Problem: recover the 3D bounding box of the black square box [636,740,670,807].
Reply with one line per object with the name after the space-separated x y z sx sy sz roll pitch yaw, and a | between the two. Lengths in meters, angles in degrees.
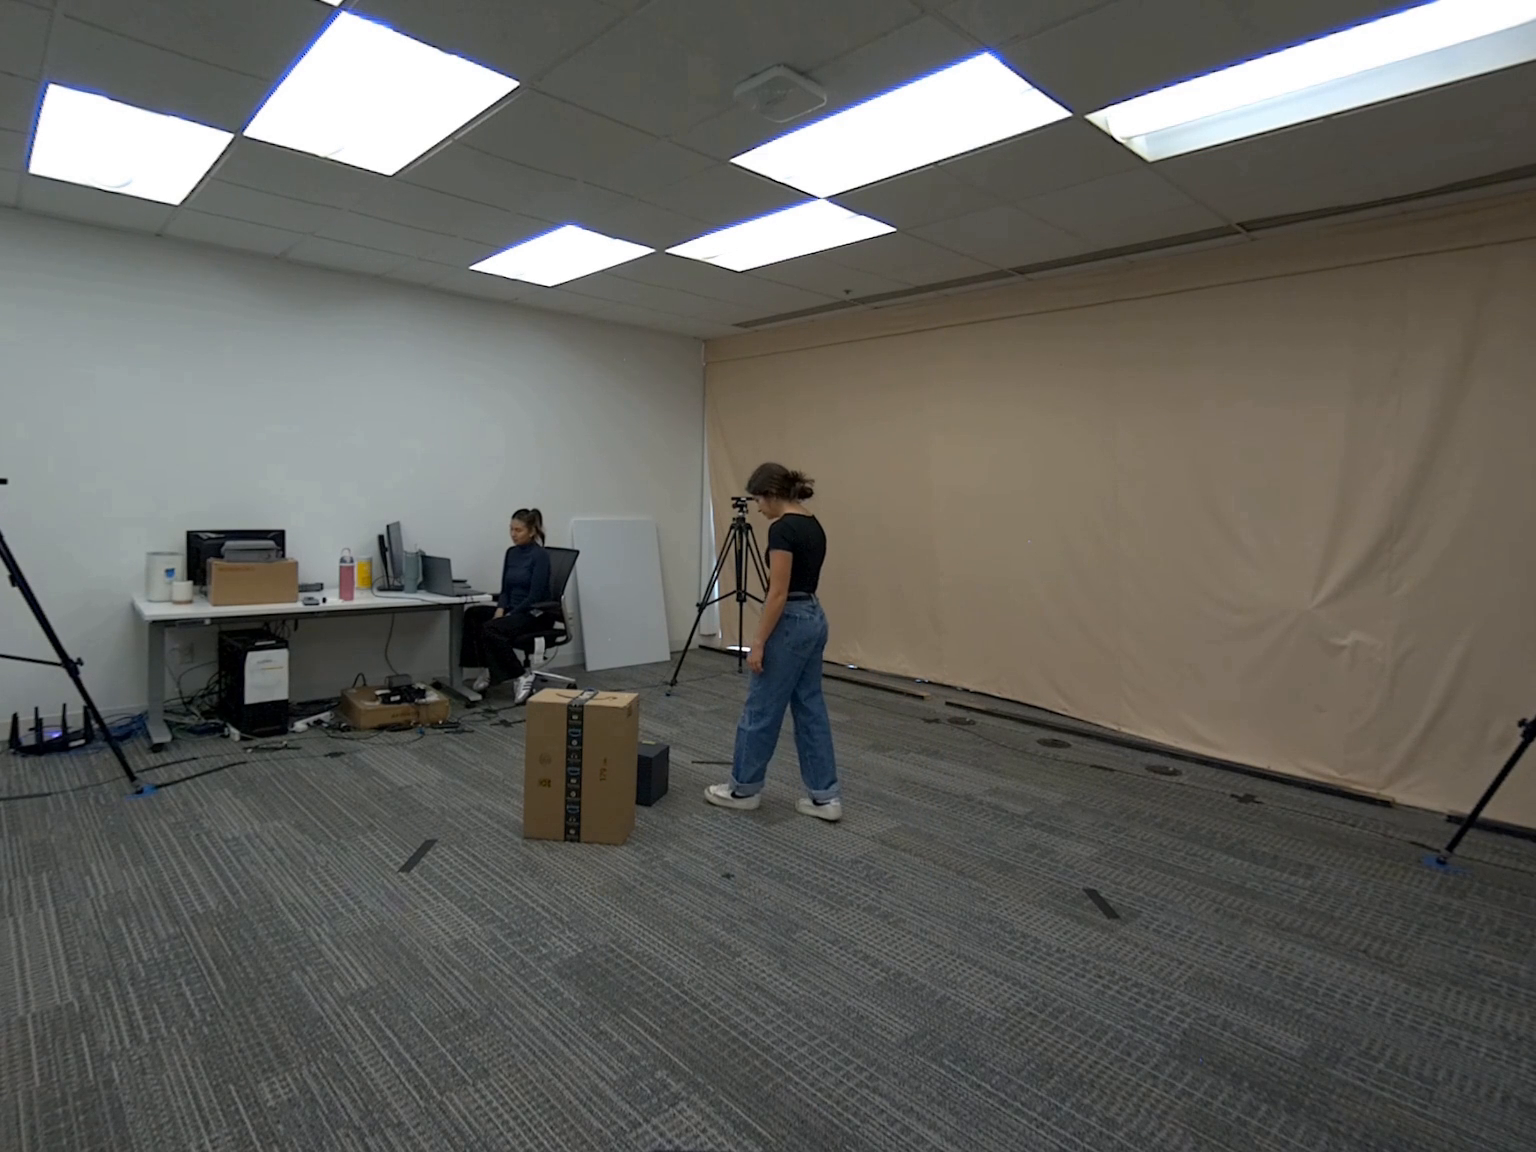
-0.576 0.906 3.903 0.158 0.227 0.215 4 4 15 | black square box
